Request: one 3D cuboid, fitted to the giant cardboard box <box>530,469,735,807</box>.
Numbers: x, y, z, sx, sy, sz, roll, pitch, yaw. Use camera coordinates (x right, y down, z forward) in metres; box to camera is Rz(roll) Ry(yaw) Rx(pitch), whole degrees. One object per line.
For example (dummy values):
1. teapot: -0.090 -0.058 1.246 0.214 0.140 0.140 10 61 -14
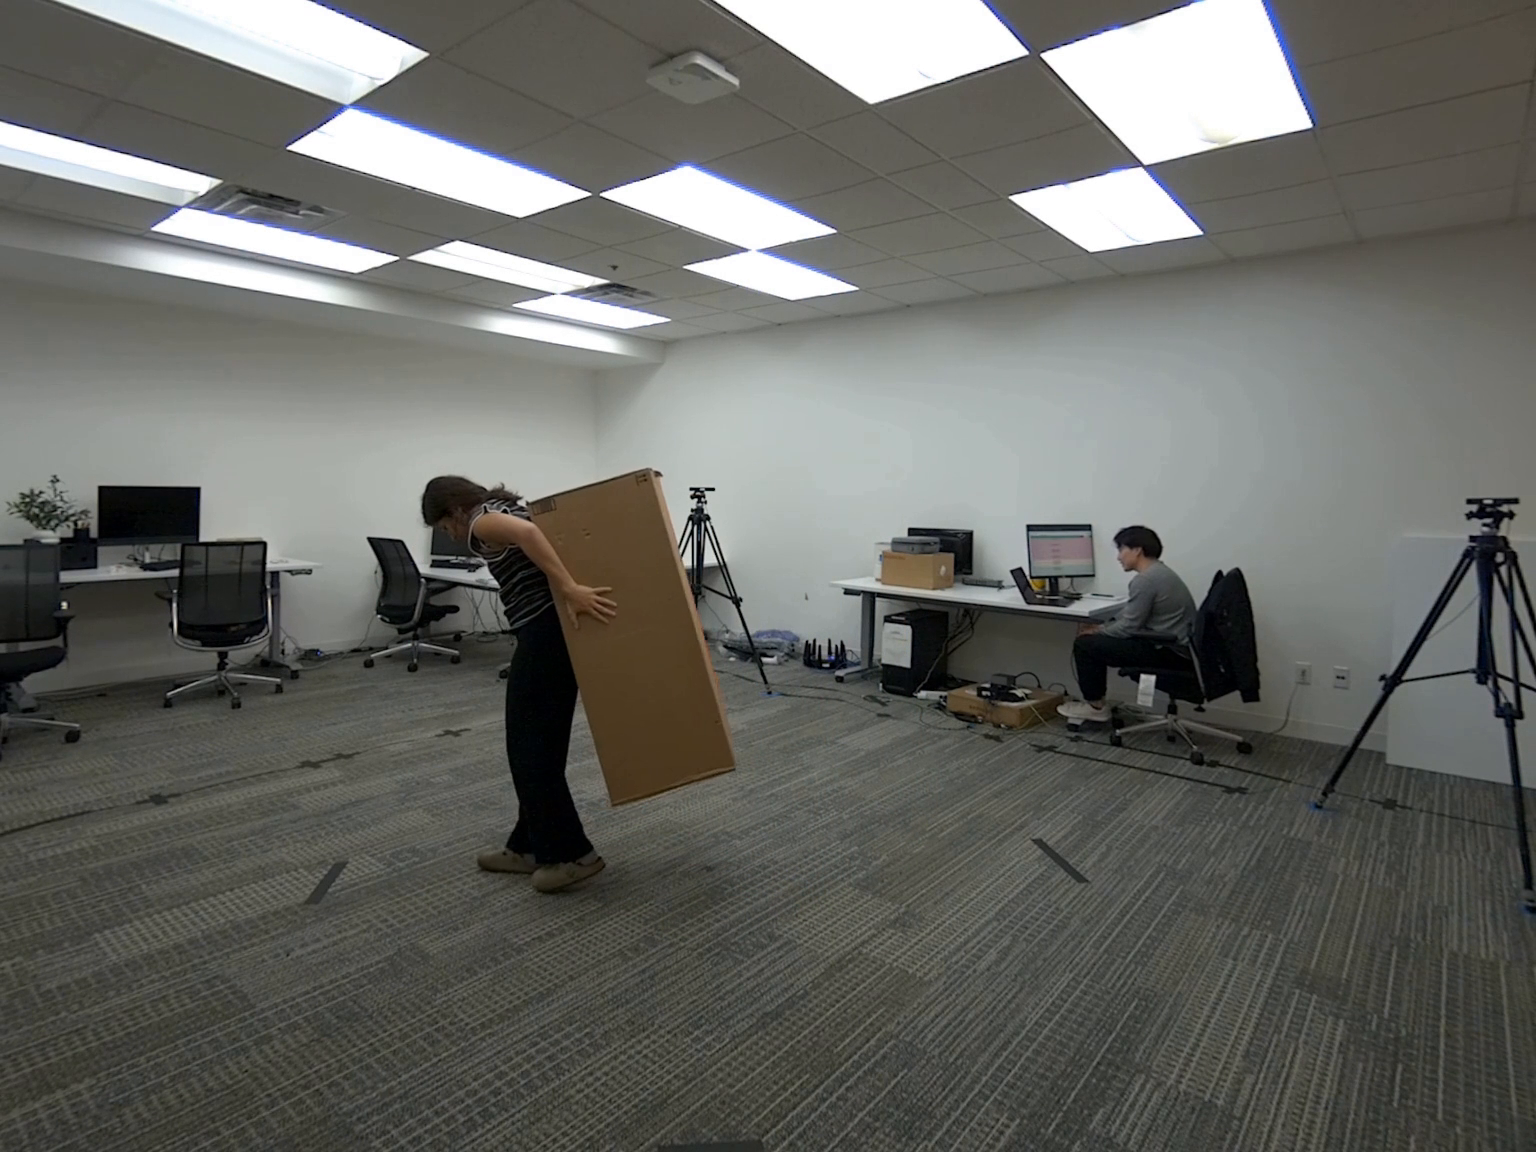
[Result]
1. giant cardboard box: -0.471 0.189 3.024 0.425 1.027 0.578 -15 0 -4
